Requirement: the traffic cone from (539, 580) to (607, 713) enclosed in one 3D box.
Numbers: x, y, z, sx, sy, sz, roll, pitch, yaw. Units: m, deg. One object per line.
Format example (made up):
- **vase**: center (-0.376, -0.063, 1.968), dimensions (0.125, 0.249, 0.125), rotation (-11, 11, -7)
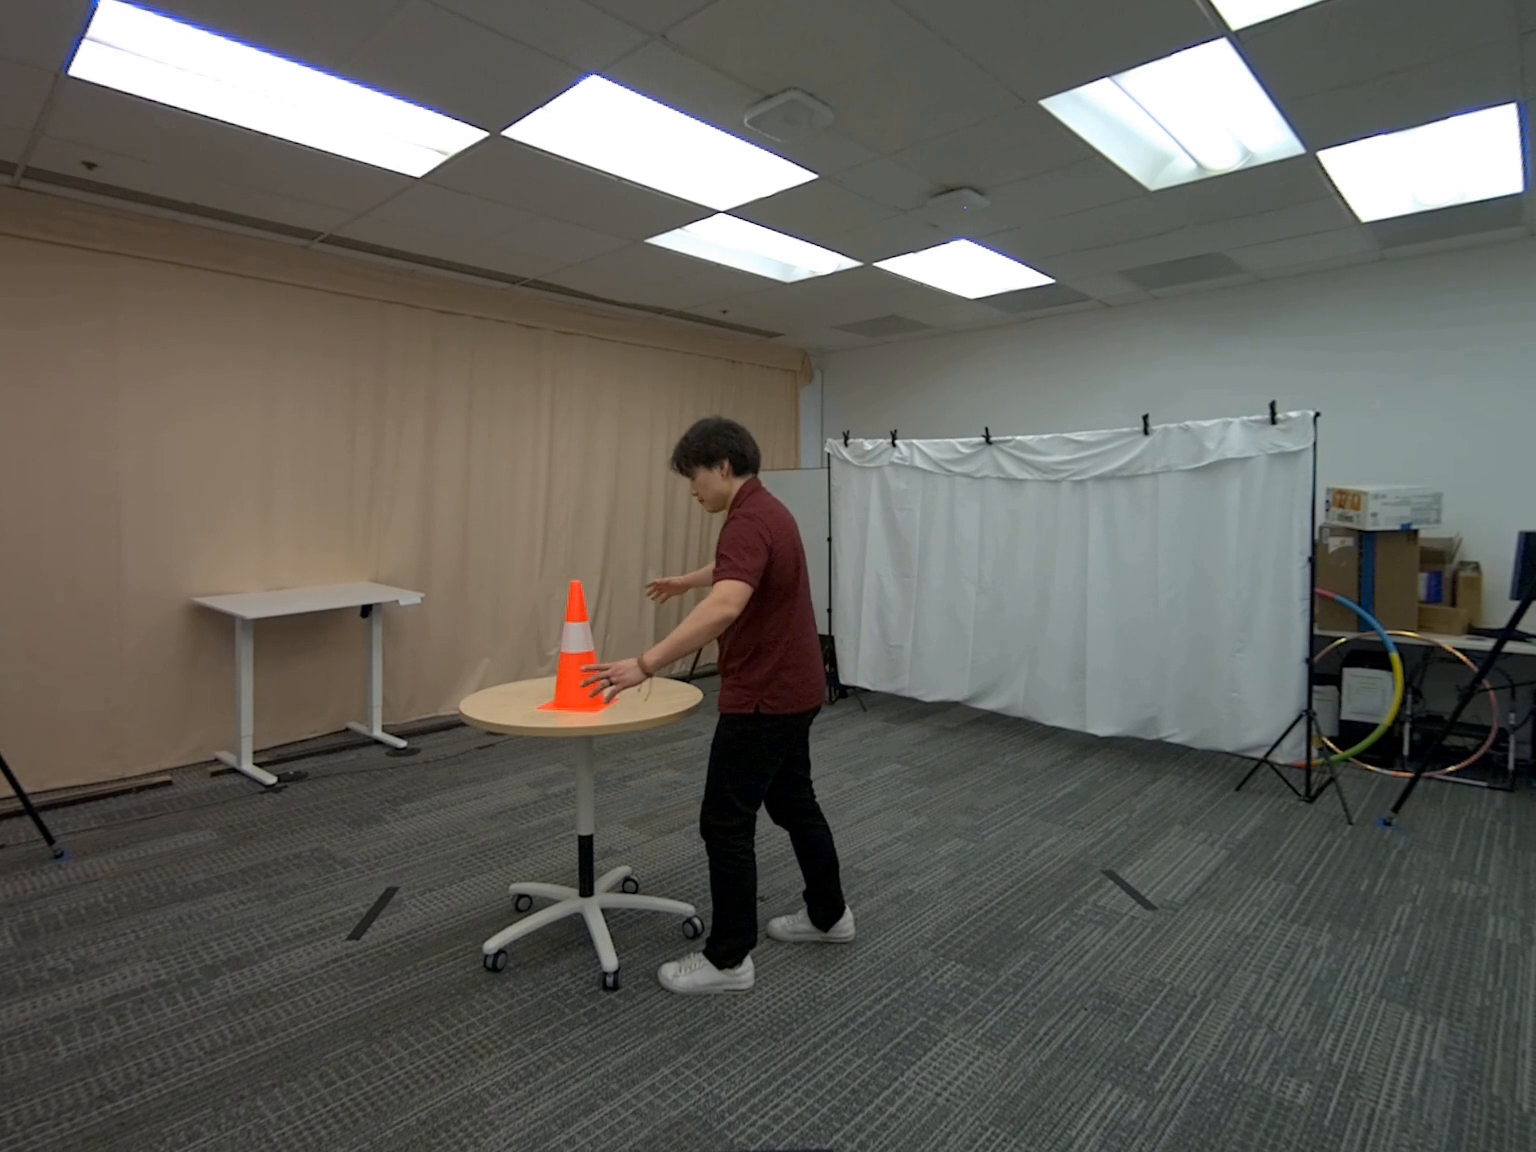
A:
- **traffic cone**: center (-0.590, 0.210, 2.589), dimensions (0.207, 0.383, 0.202), rotation (-2, 1, 7)
